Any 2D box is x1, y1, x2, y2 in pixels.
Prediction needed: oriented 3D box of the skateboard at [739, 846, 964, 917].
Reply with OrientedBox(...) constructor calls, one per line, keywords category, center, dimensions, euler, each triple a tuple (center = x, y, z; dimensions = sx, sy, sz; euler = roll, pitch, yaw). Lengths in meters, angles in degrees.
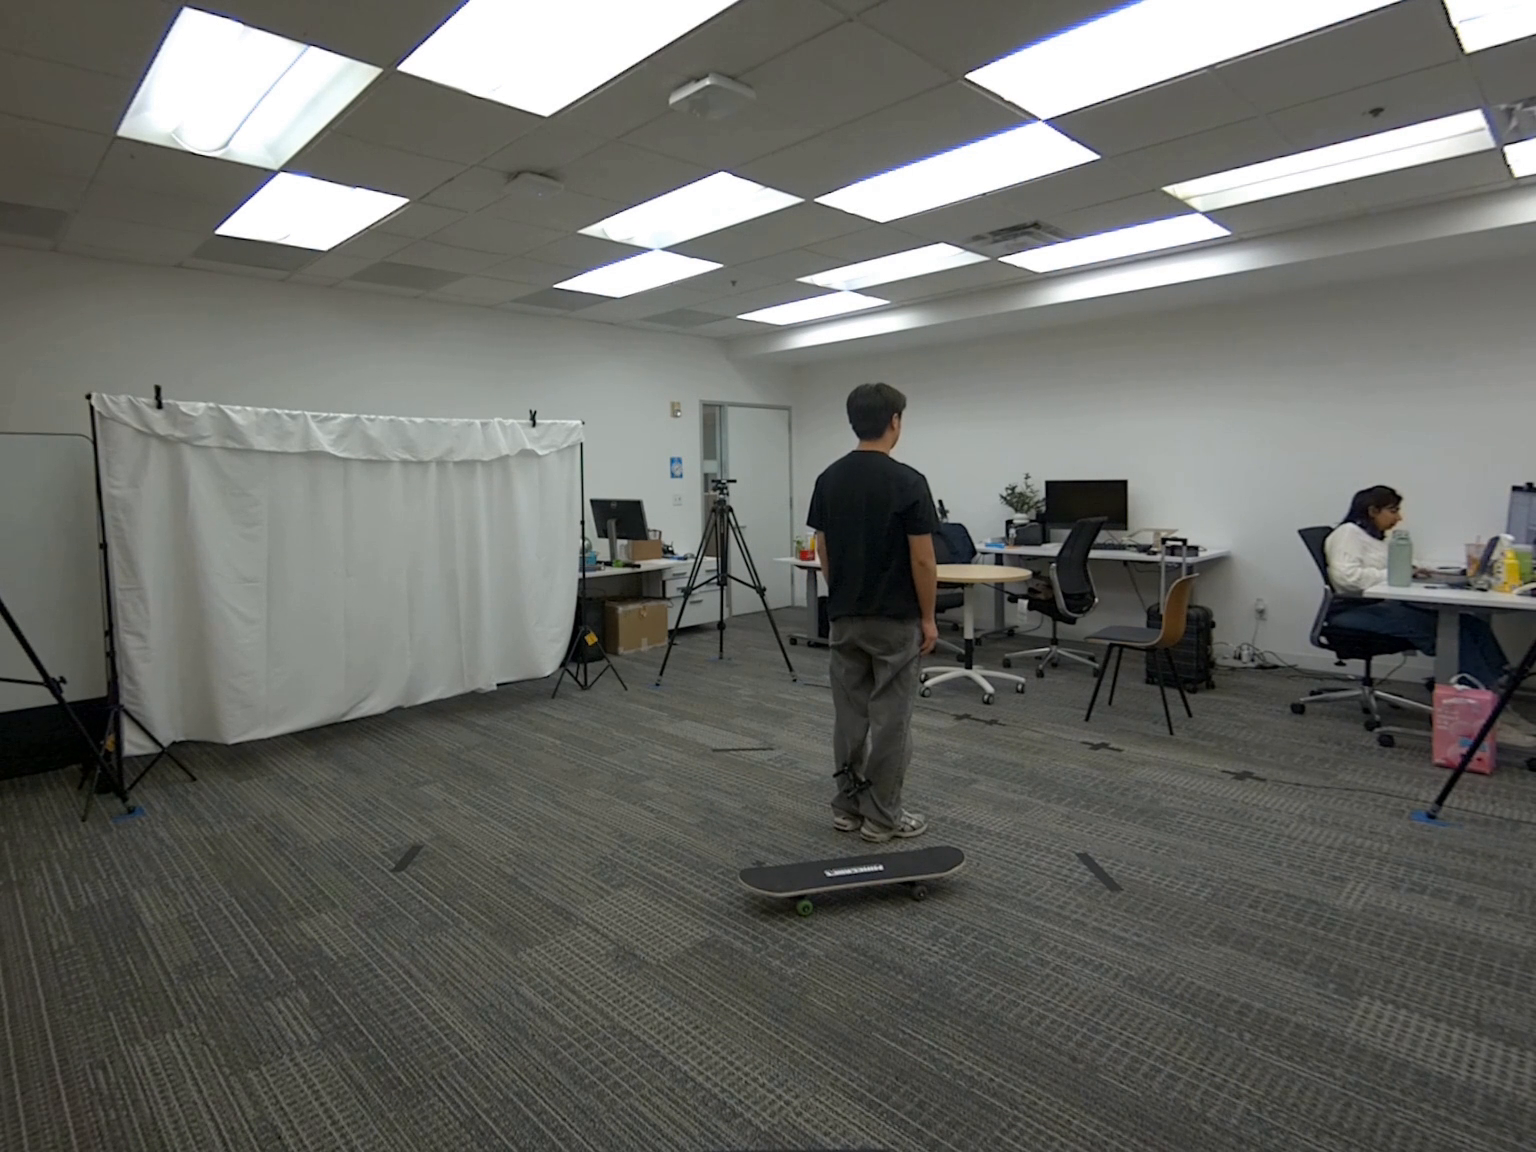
OrientedBox(category="skateboard", center=(0.286, 1.007, 2.852), dimensions=(0.777, 0.110, 0.196), euler=(-2, 6, -12))
